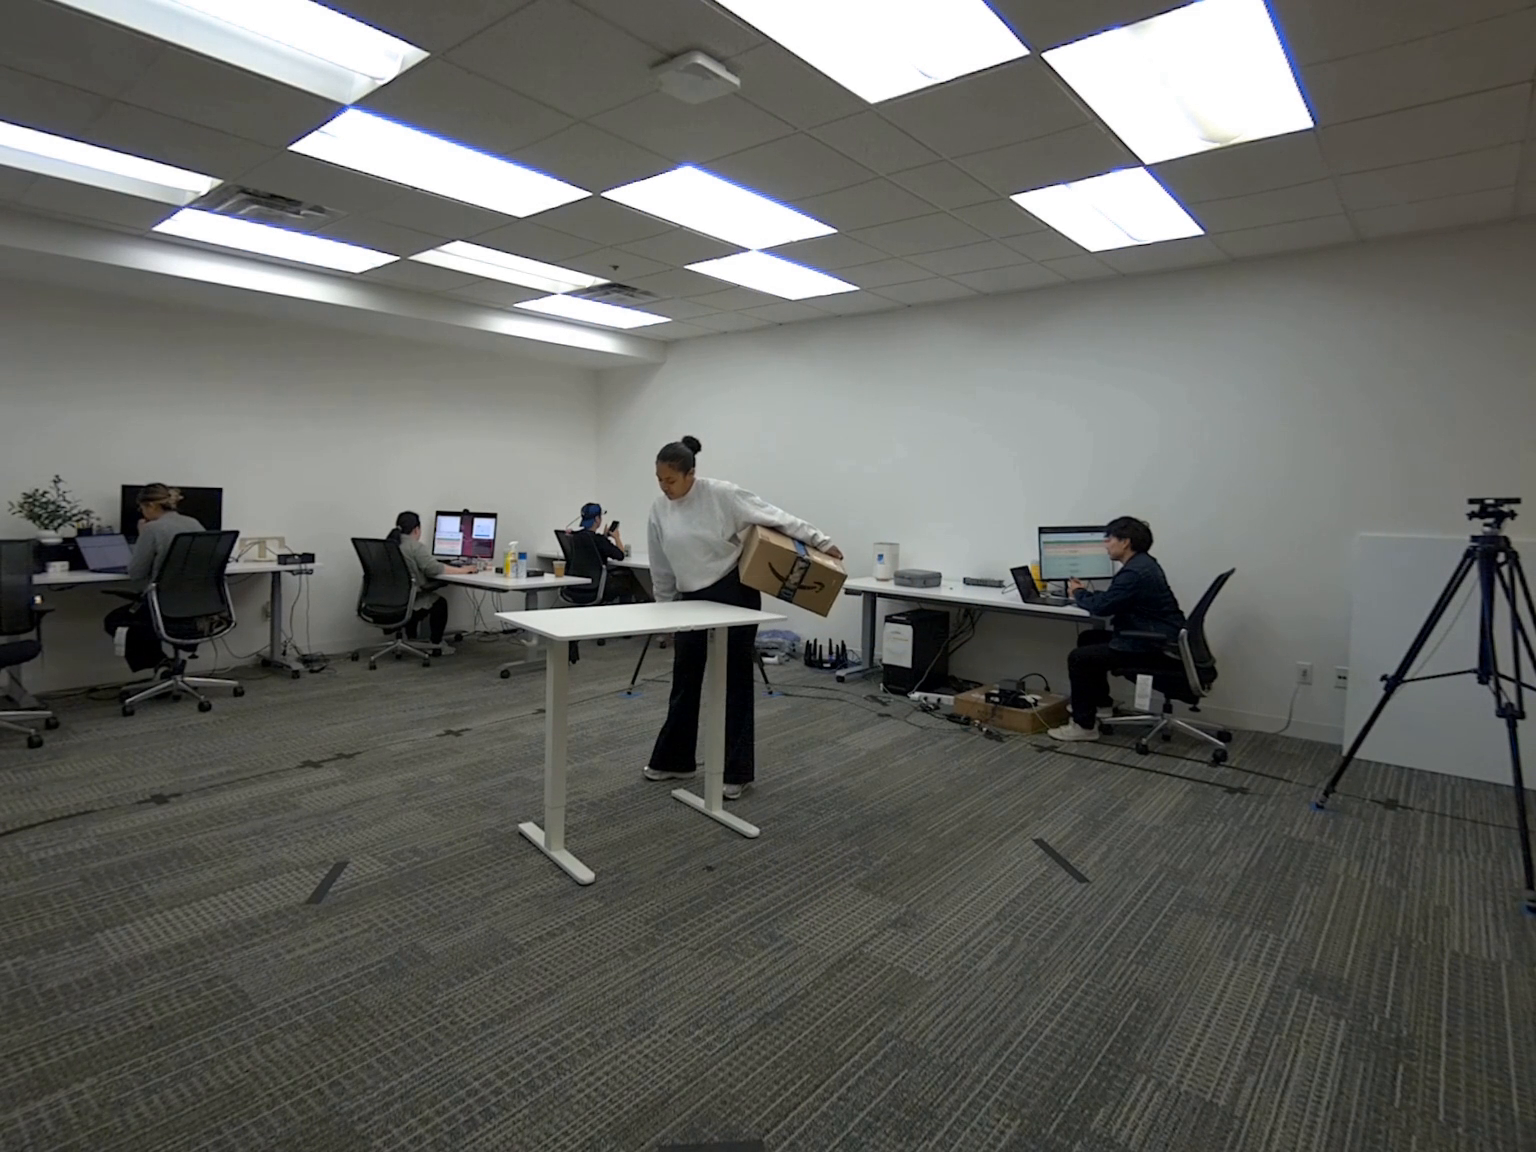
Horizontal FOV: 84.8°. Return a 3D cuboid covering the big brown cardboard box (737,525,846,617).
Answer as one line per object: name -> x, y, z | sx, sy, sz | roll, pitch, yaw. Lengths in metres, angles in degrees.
big brown cardboard box -> 0.084, -0.079, 3.892 | 0.413, 0.232, 0.599 | 22, 15, -9
